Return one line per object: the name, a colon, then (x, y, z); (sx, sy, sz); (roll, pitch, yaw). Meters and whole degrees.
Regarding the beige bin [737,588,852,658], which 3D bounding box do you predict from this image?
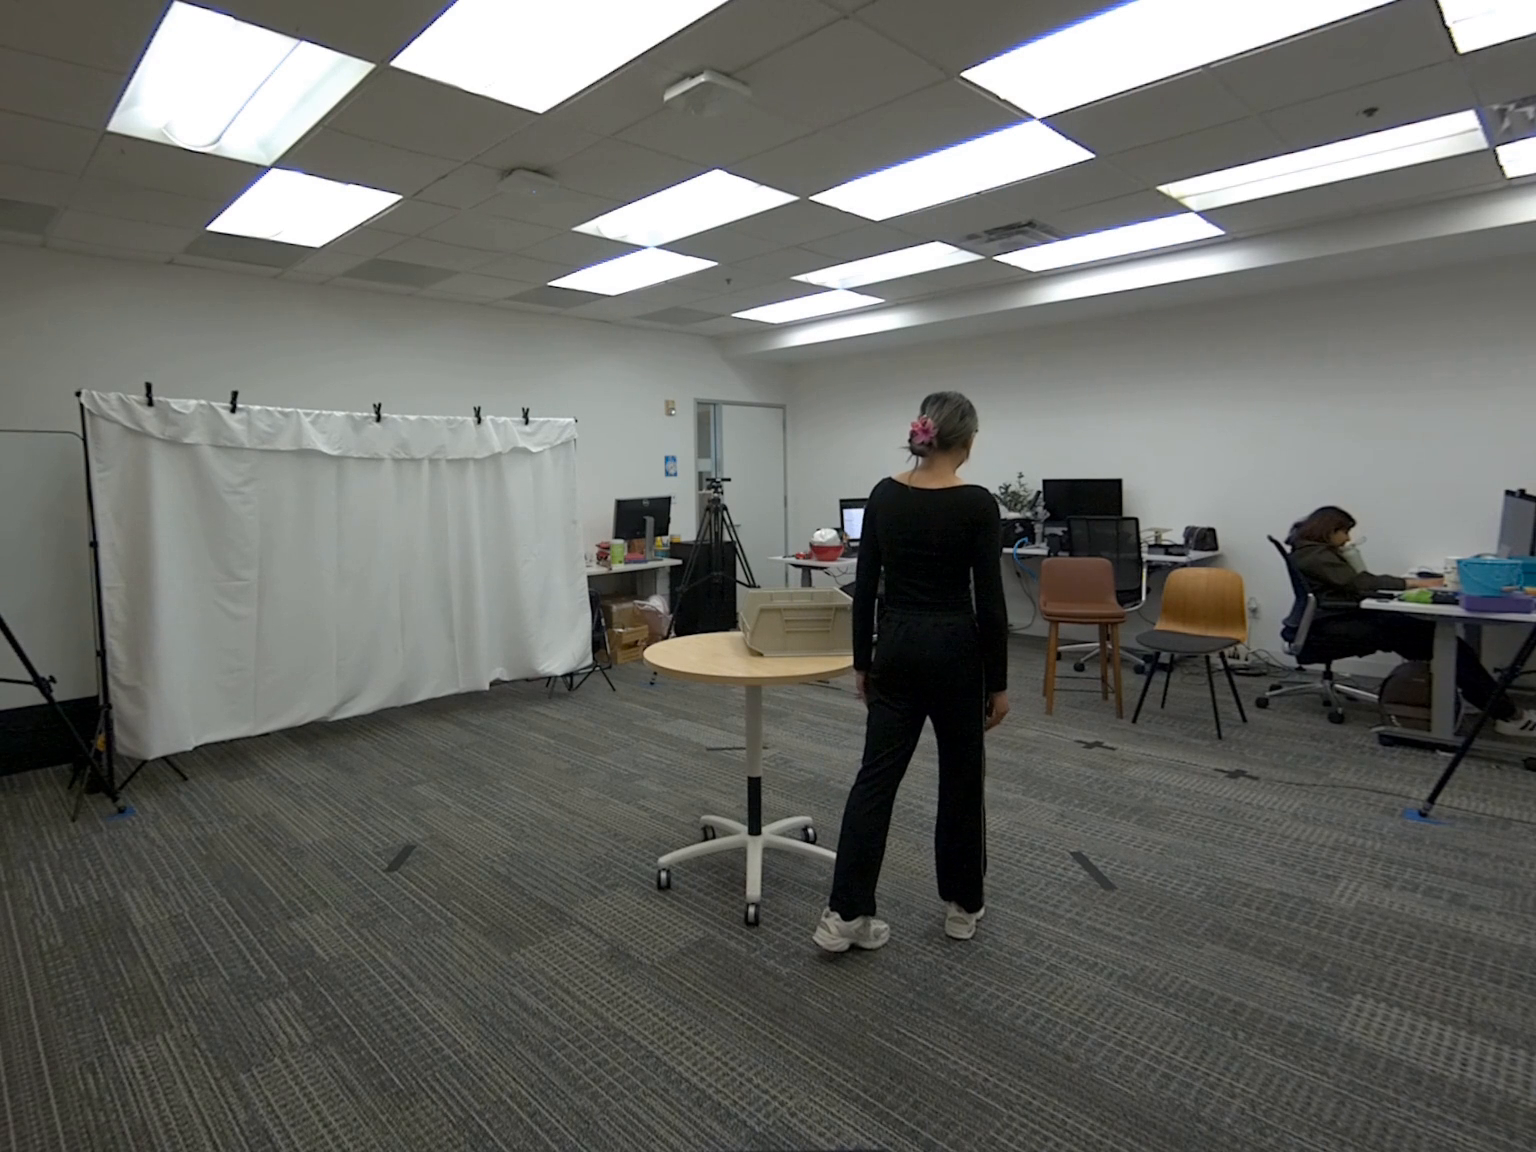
beige bin: (0.103, 0.162, 3.084); (0.376, 0.188, 0.426); (-1, 6, -5)
